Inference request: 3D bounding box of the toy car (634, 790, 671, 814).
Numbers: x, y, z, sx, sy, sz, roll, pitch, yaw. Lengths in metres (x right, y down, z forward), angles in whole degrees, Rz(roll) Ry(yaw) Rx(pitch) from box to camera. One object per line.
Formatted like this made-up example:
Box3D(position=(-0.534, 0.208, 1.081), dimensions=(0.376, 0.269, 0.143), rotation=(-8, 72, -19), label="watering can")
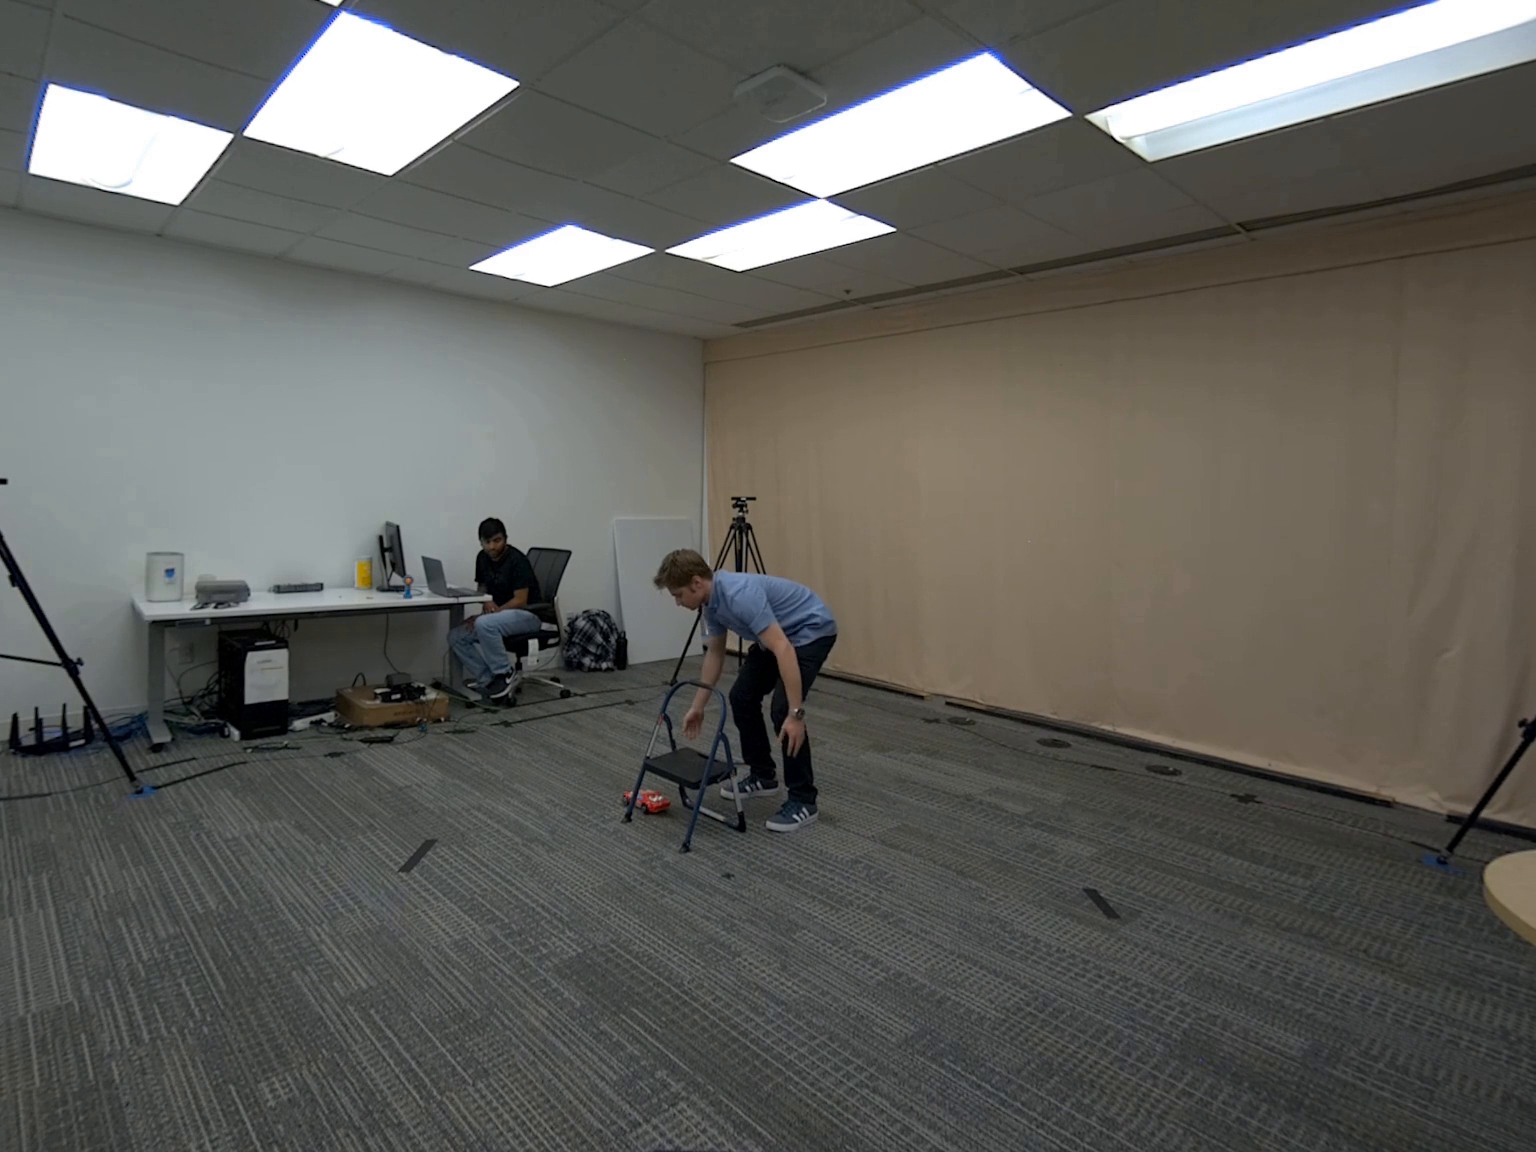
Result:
Box3D(position=(-0.555, 1.012, 3.772), dimensions=(0.127, 0.083, 0.259), rotation=(-2, -5, -44), label="toy car")
